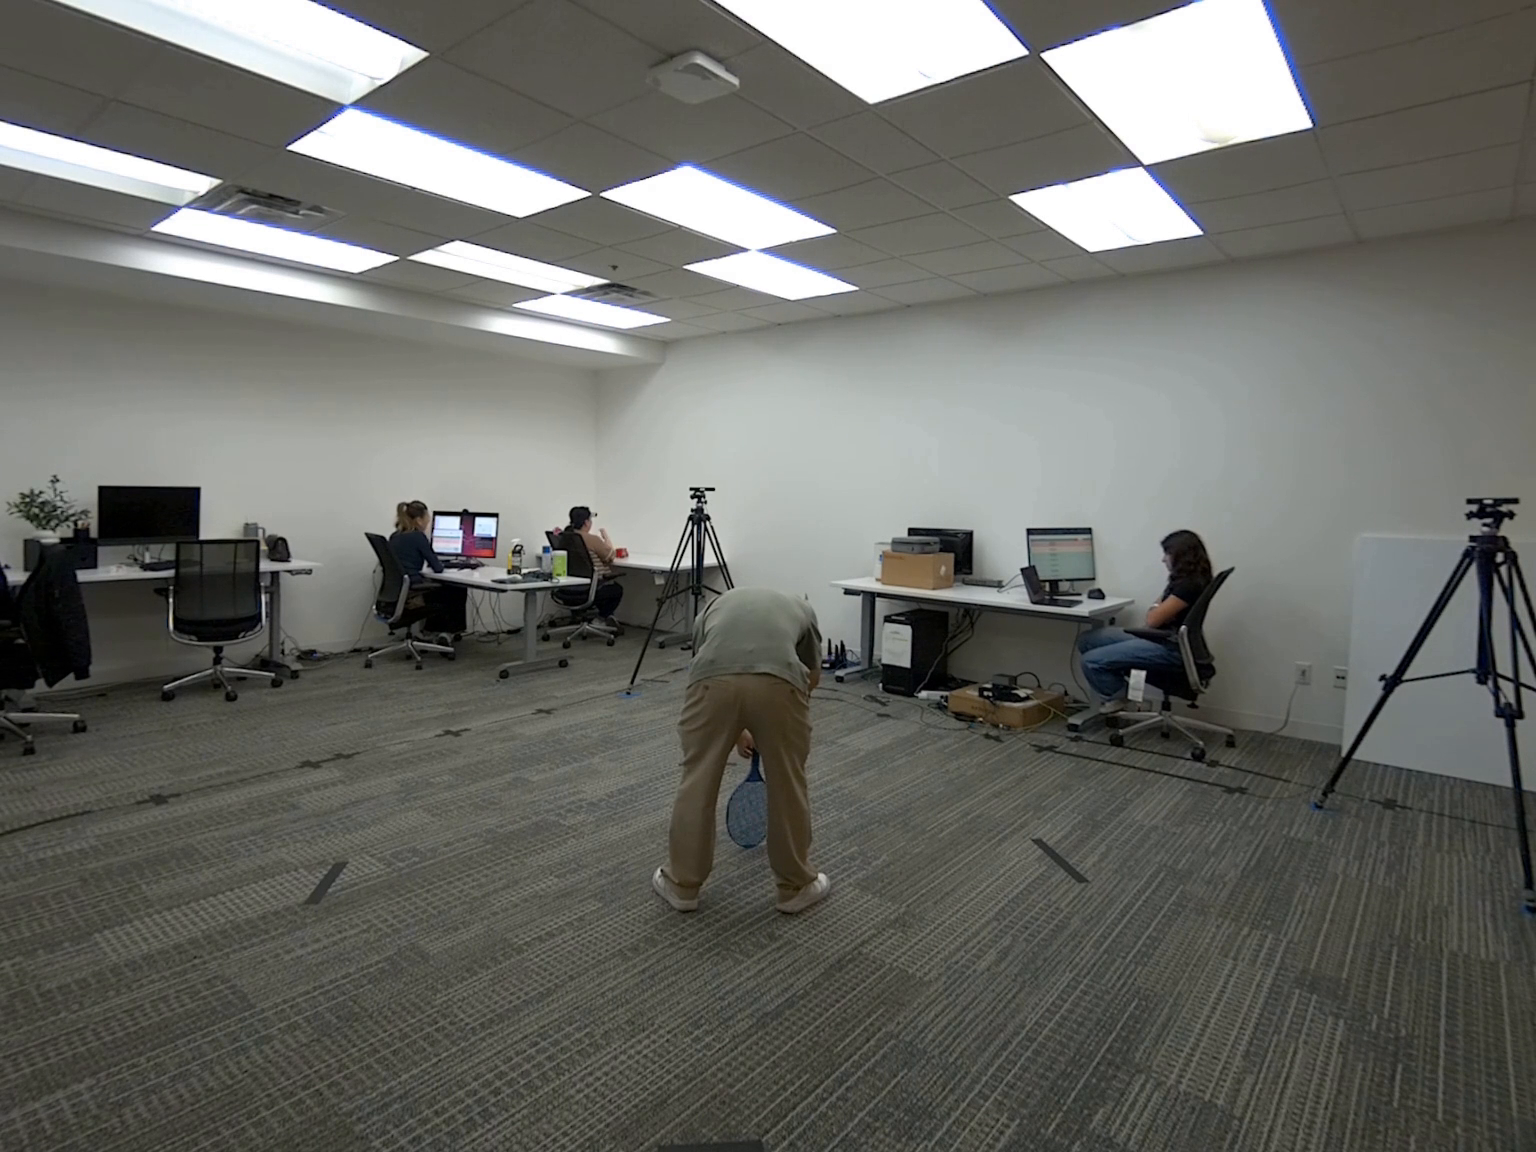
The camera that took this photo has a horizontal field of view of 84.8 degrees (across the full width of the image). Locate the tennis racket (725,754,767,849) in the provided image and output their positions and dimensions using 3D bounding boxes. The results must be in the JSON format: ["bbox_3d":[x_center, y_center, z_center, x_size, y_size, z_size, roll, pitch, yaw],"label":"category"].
[{"bbox_3d":[-0.065,0.835,3.301,0.208,0.433,0.032,8,-2,-23],"label":"tennis racket"}]
